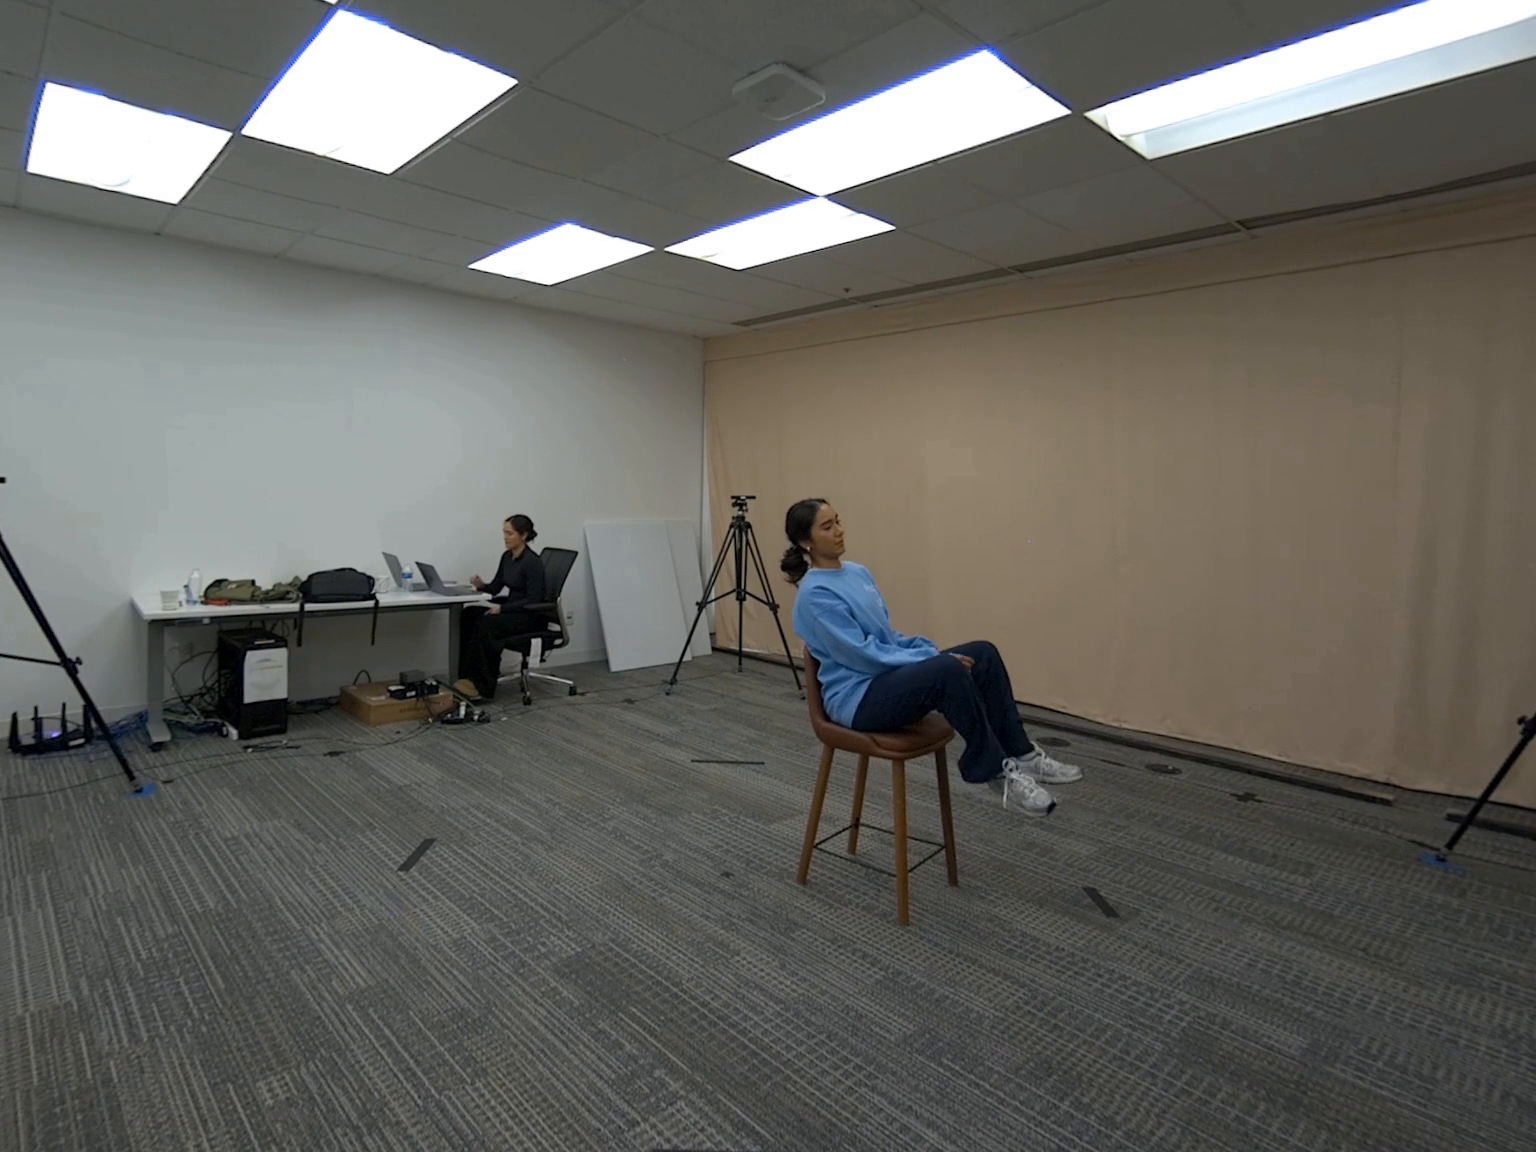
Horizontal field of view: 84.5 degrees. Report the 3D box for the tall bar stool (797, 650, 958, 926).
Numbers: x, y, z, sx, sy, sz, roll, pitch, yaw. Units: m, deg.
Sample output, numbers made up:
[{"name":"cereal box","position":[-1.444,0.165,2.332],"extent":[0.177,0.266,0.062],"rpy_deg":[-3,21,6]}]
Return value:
[{"name":"tall bar stool","position":[0.394,0.686,3.033],"extent":[0.479,0.888,0.446],"rpy_deg":[1,3,39]}]
